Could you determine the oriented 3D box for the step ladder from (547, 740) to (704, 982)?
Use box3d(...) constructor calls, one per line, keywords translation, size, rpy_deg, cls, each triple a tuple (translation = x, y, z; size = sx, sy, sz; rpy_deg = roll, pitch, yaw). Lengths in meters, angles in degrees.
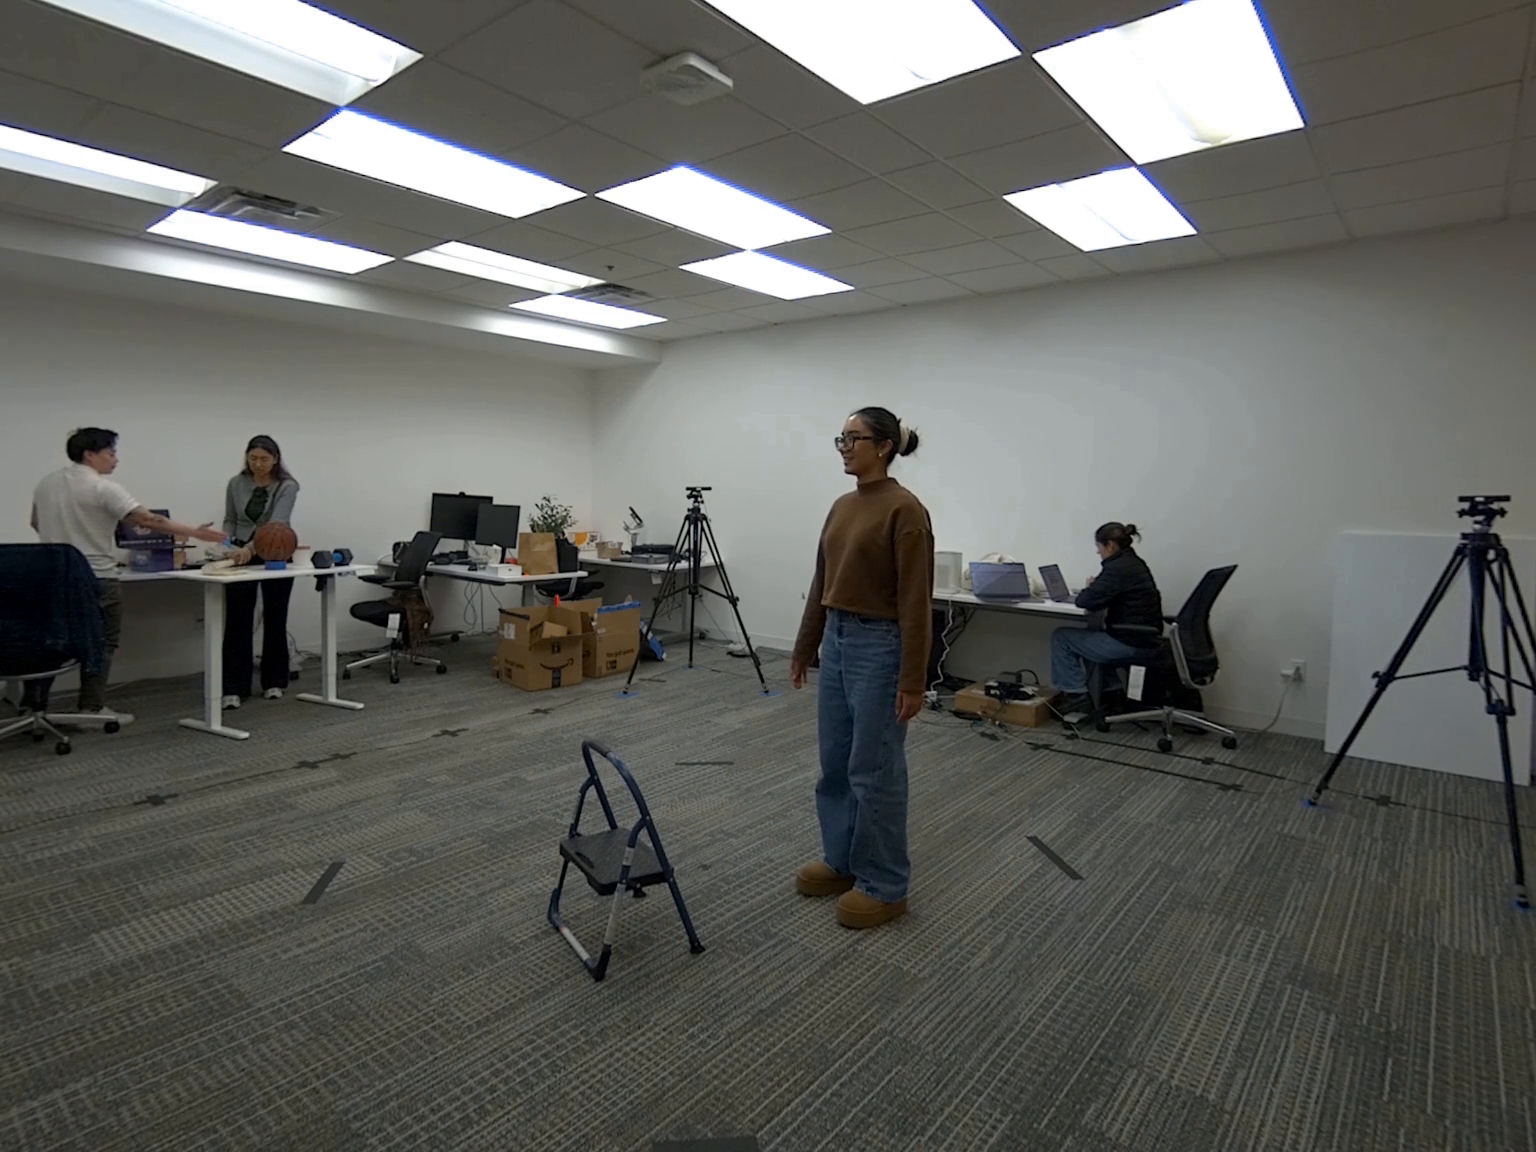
box3d(translation=(-0.456, 0.808, 2.625), size=(0.339, 0.604, 0.444), rpy_deg=(-1, 4, -34), cls="step ladder")
